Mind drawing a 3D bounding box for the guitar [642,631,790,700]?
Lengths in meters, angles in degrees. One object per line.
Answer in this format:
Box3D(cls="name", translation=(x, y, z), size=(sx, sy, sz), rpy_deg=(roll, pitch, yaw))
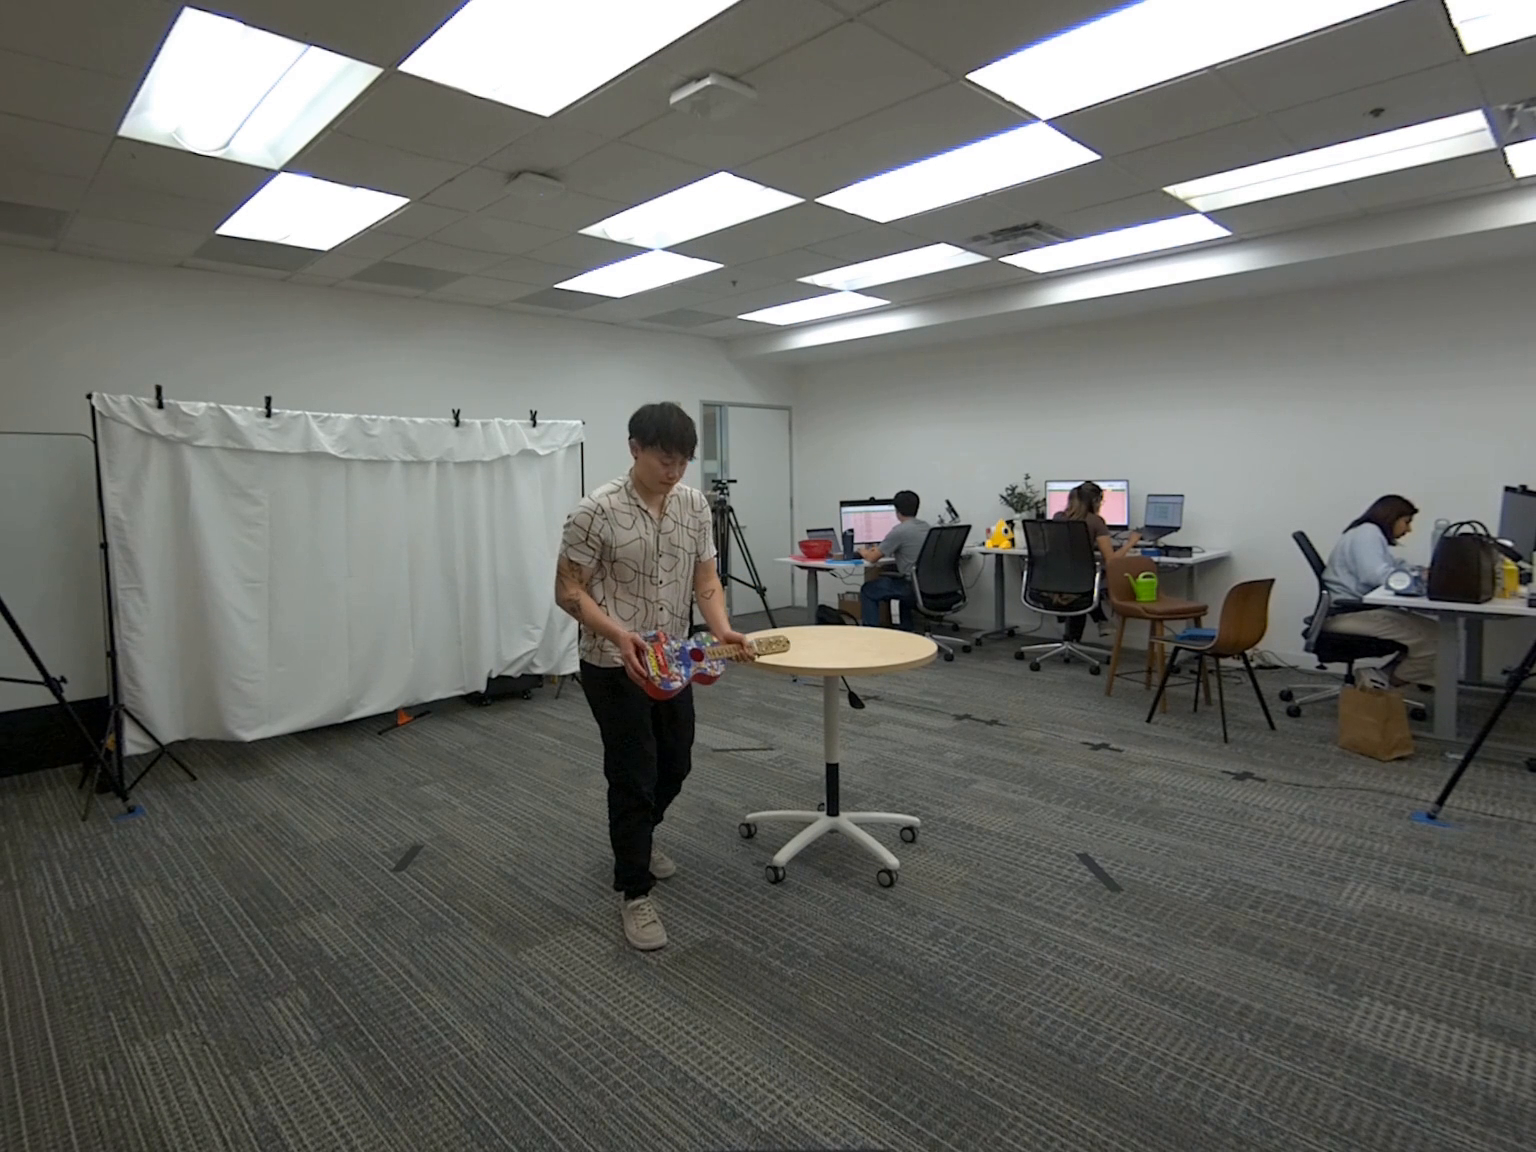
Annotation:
Box3D(cls="guitar", translation=(-0.149, 0.260, 2.538), size=(0.486, 0.199, 0.070), rpy_deg=(4, -36, -24))
